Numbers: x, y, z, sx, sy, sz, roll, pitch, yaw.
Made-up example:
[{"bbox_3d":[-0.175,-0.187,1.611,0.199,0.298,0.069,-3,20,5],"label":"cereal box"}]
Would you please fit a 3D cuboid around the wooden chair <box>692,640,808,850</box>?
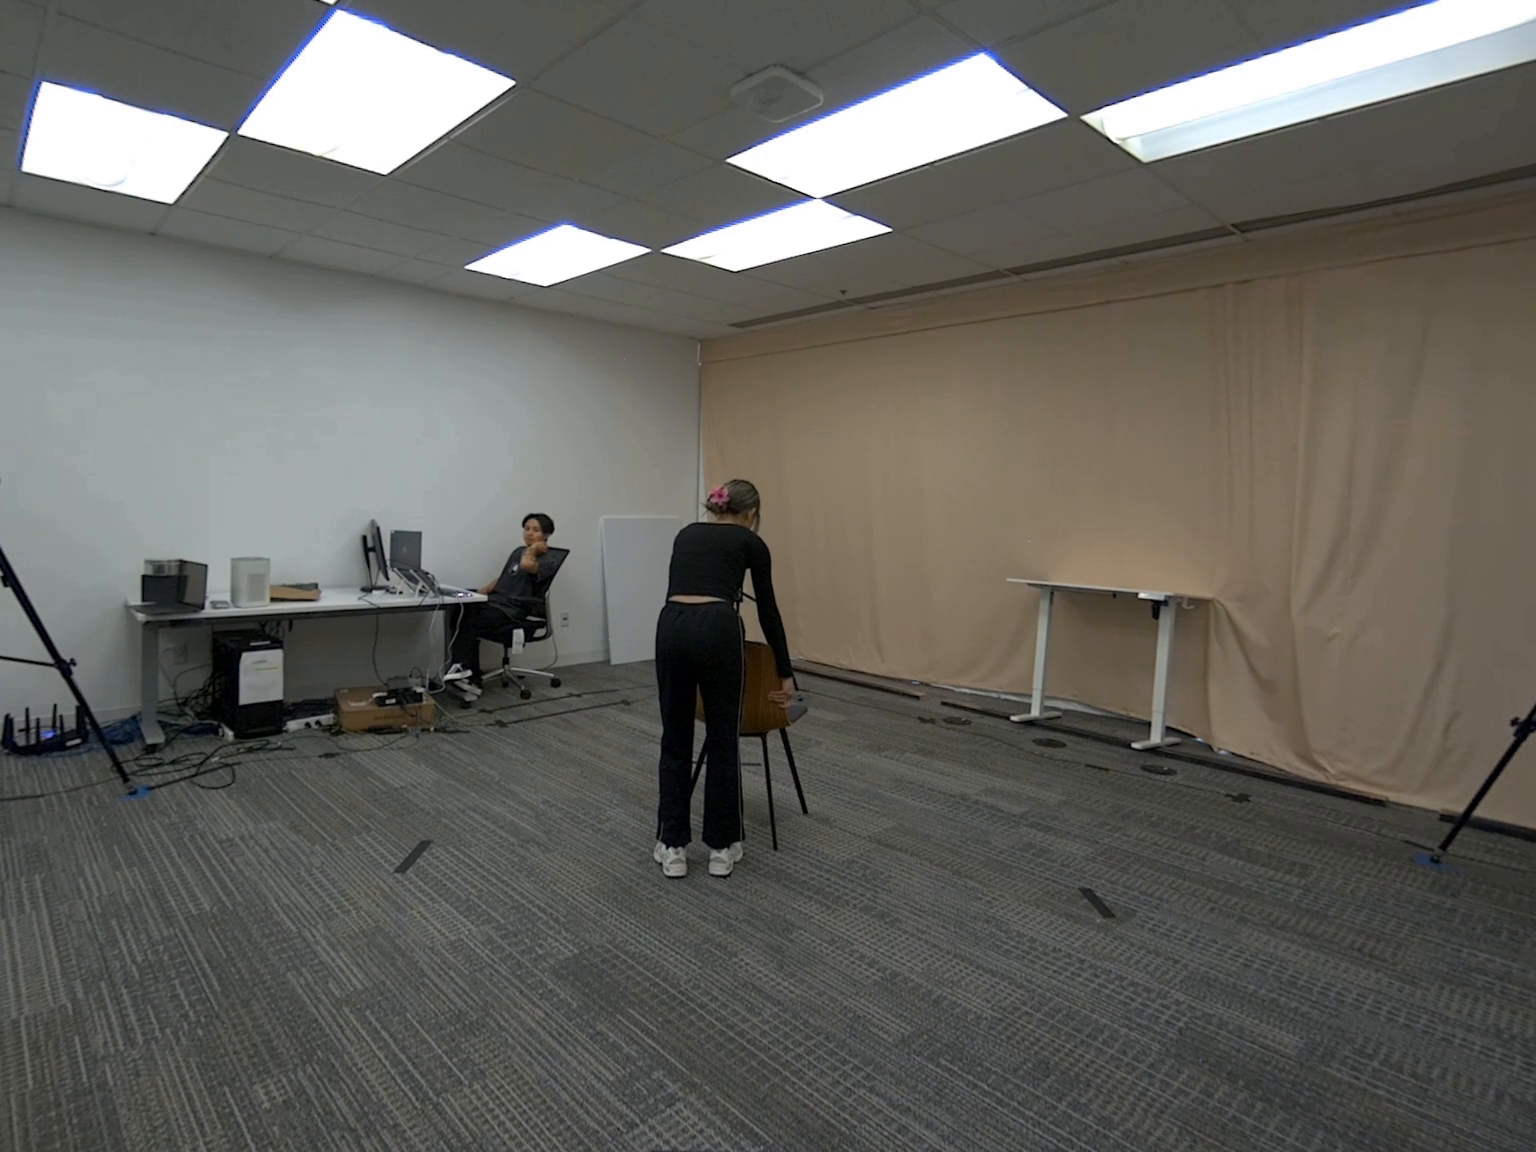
[{"bbox_3d":[-0.102,0.639,3.606,0.486,0.873,0.517,2,7,20],"label":"wooden chair"}]
